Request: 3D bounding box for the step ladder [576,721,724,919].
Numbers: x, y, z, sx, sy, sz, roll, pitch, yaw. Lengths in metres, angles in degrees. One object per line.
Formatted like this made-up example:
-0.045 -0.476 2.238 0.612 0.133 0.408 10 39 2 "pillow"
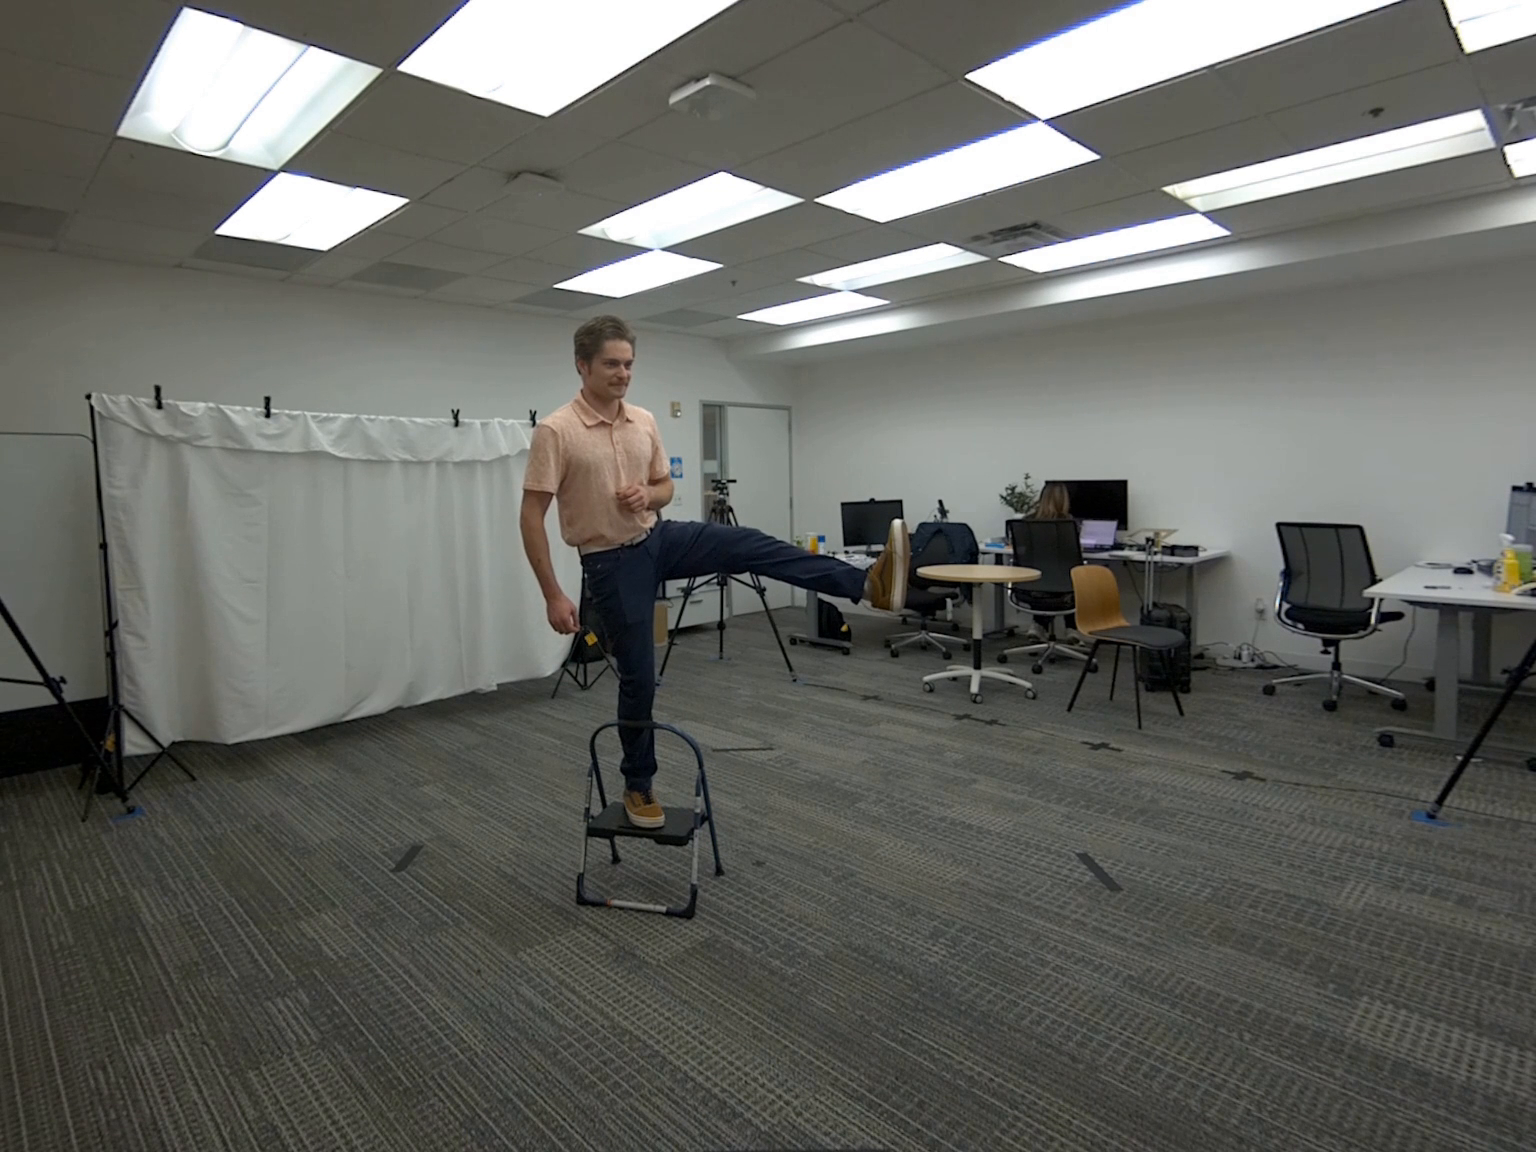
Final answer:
-0.405 0.776 2.922 0.437 0.604 0.346 0 5 14 "step ladder"
